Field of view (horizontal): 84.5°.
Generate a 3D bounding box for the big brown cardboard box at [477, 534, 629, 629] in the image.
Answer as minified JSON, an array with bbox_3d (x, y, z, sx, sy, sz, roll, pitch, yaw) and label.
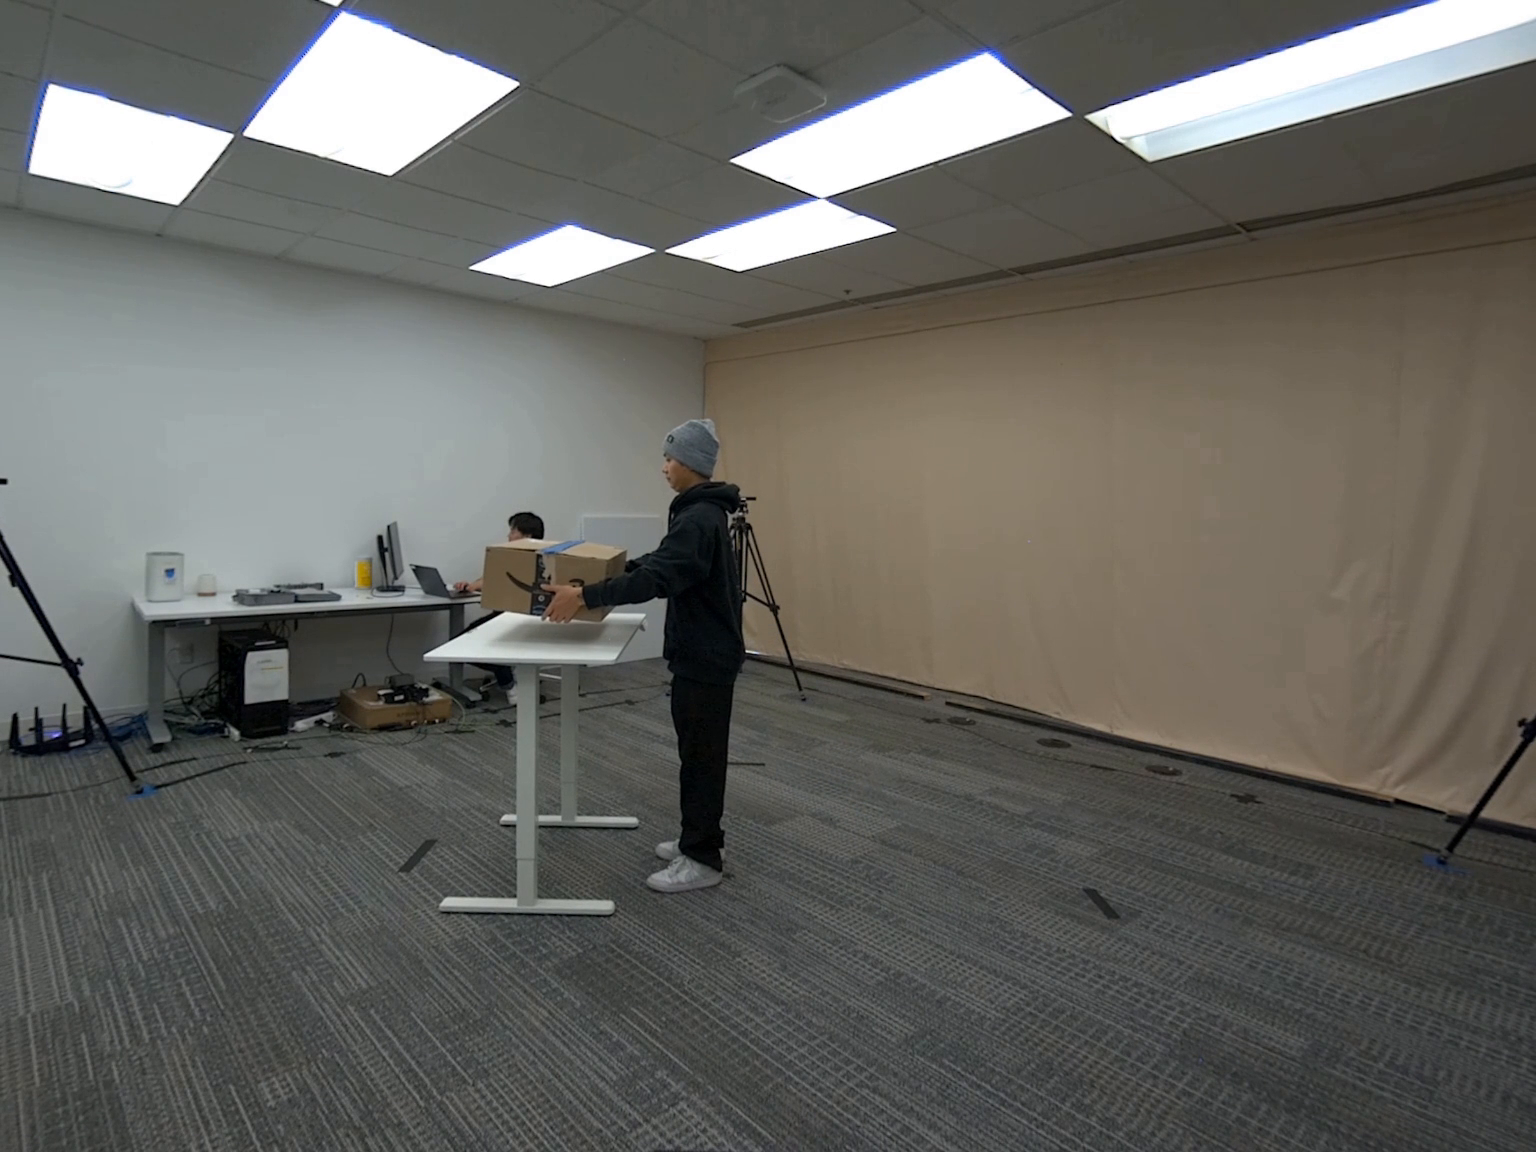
[{"bbox_3d":[-0.767,0.003,3.115,0.417,0.232,0.592,6,6,-2],"label":"big brown cardboard box"}]
